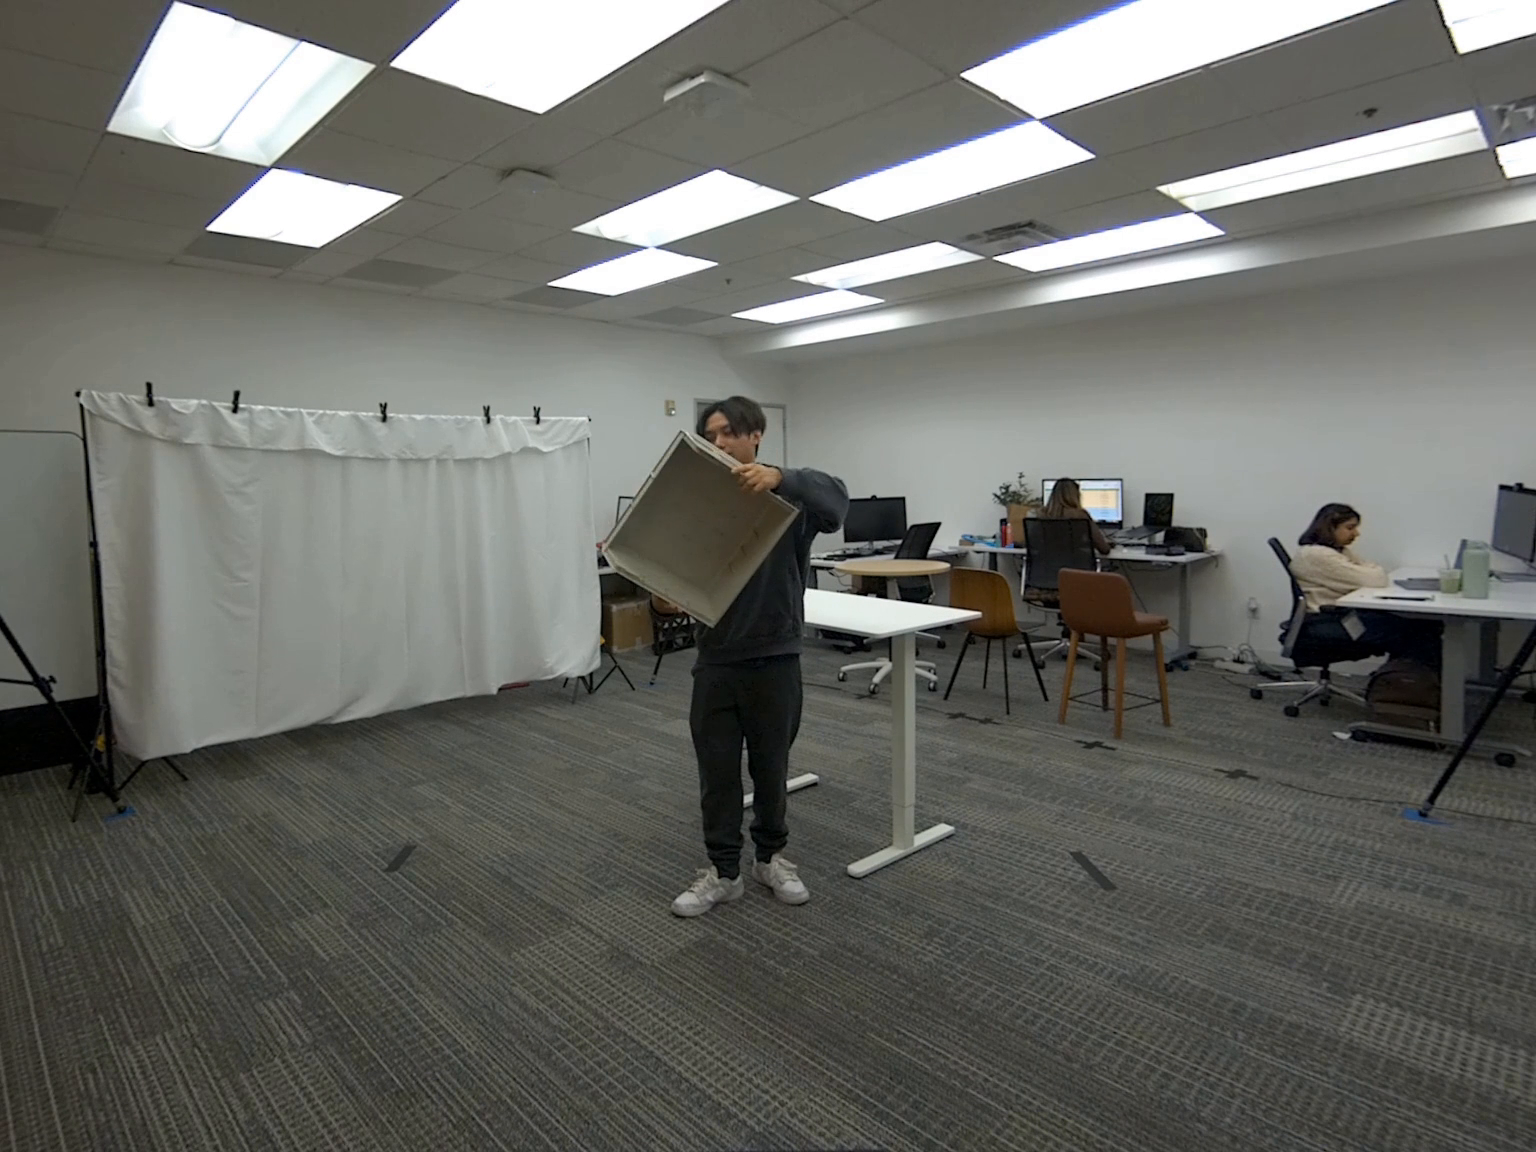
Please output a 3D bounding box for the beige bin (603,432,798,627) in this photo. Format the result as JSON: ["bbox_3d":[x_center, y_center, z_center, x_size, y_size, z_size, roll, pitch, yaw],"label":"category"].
[{"bbox_3d":[-0.207,-0.138,2.425,0.368,0.421,0.194,31,14,-19],"label":"beige bin"}]
